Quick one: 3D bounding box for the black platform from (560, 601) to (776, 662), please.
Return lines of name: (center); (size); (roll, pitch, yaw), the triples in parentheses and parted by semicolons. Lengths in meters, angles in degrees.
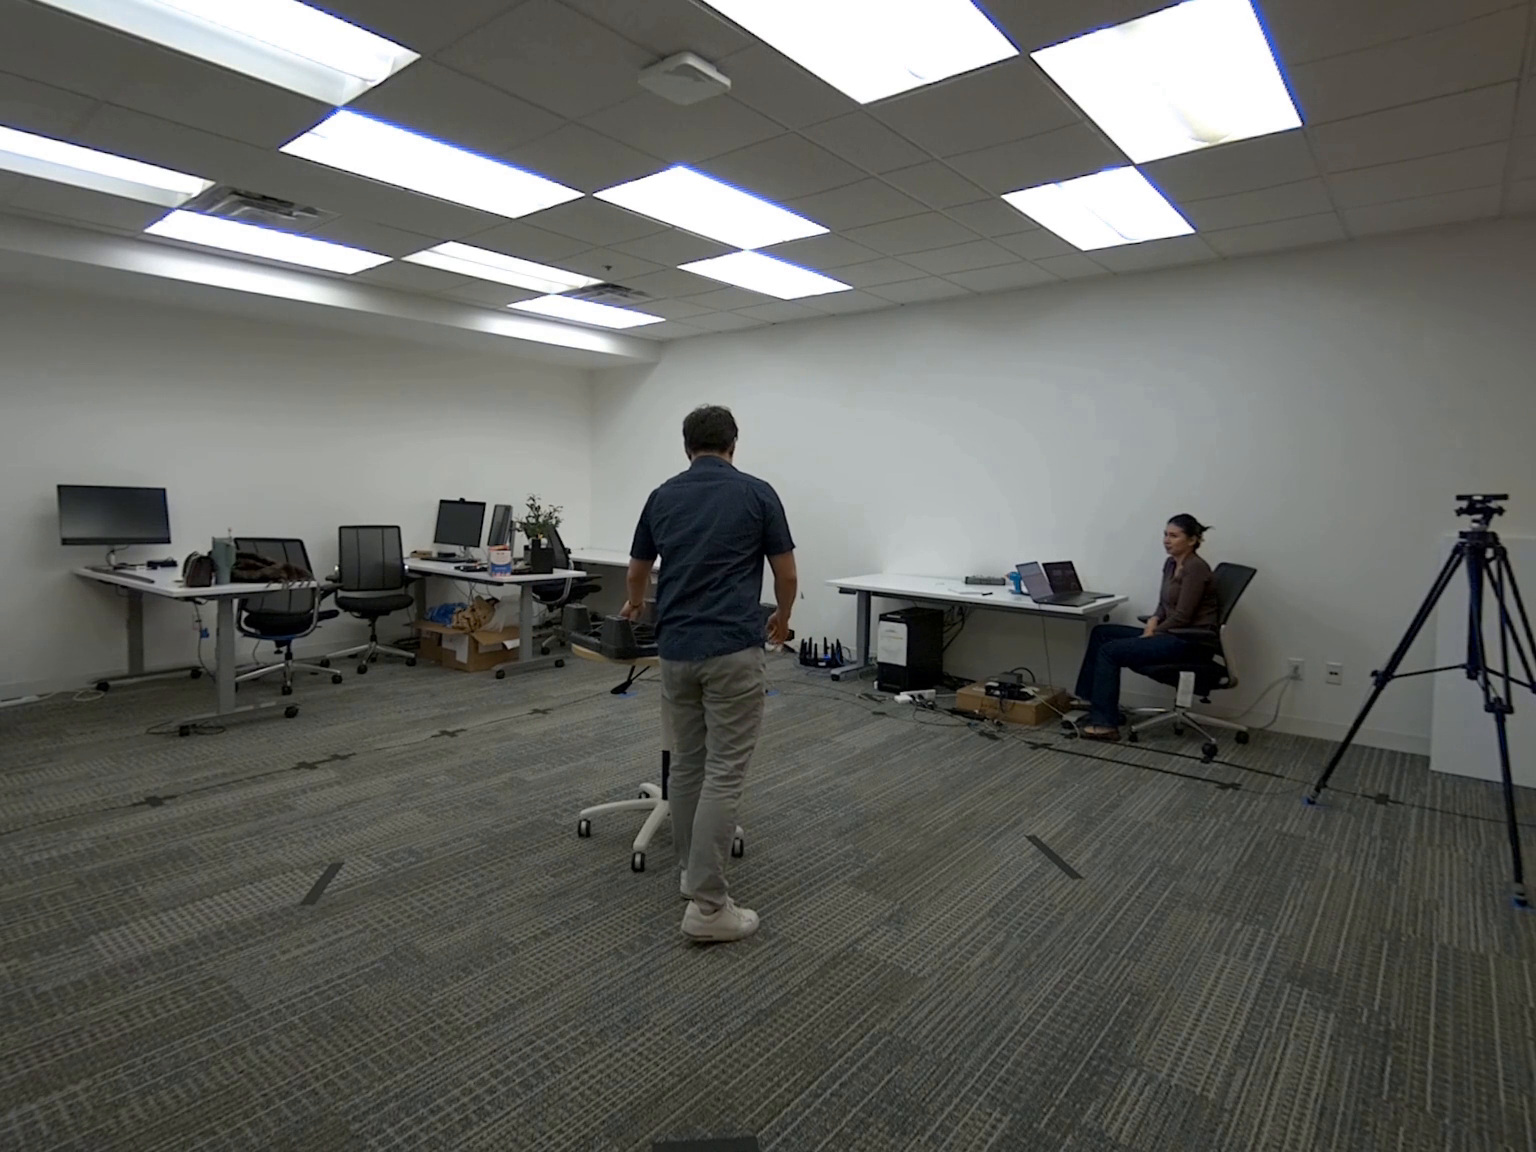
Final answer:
black platform: (-0.398, 0.182, 3.440); (0.783, 0.143, 0.625); (-4, 7, -35)
